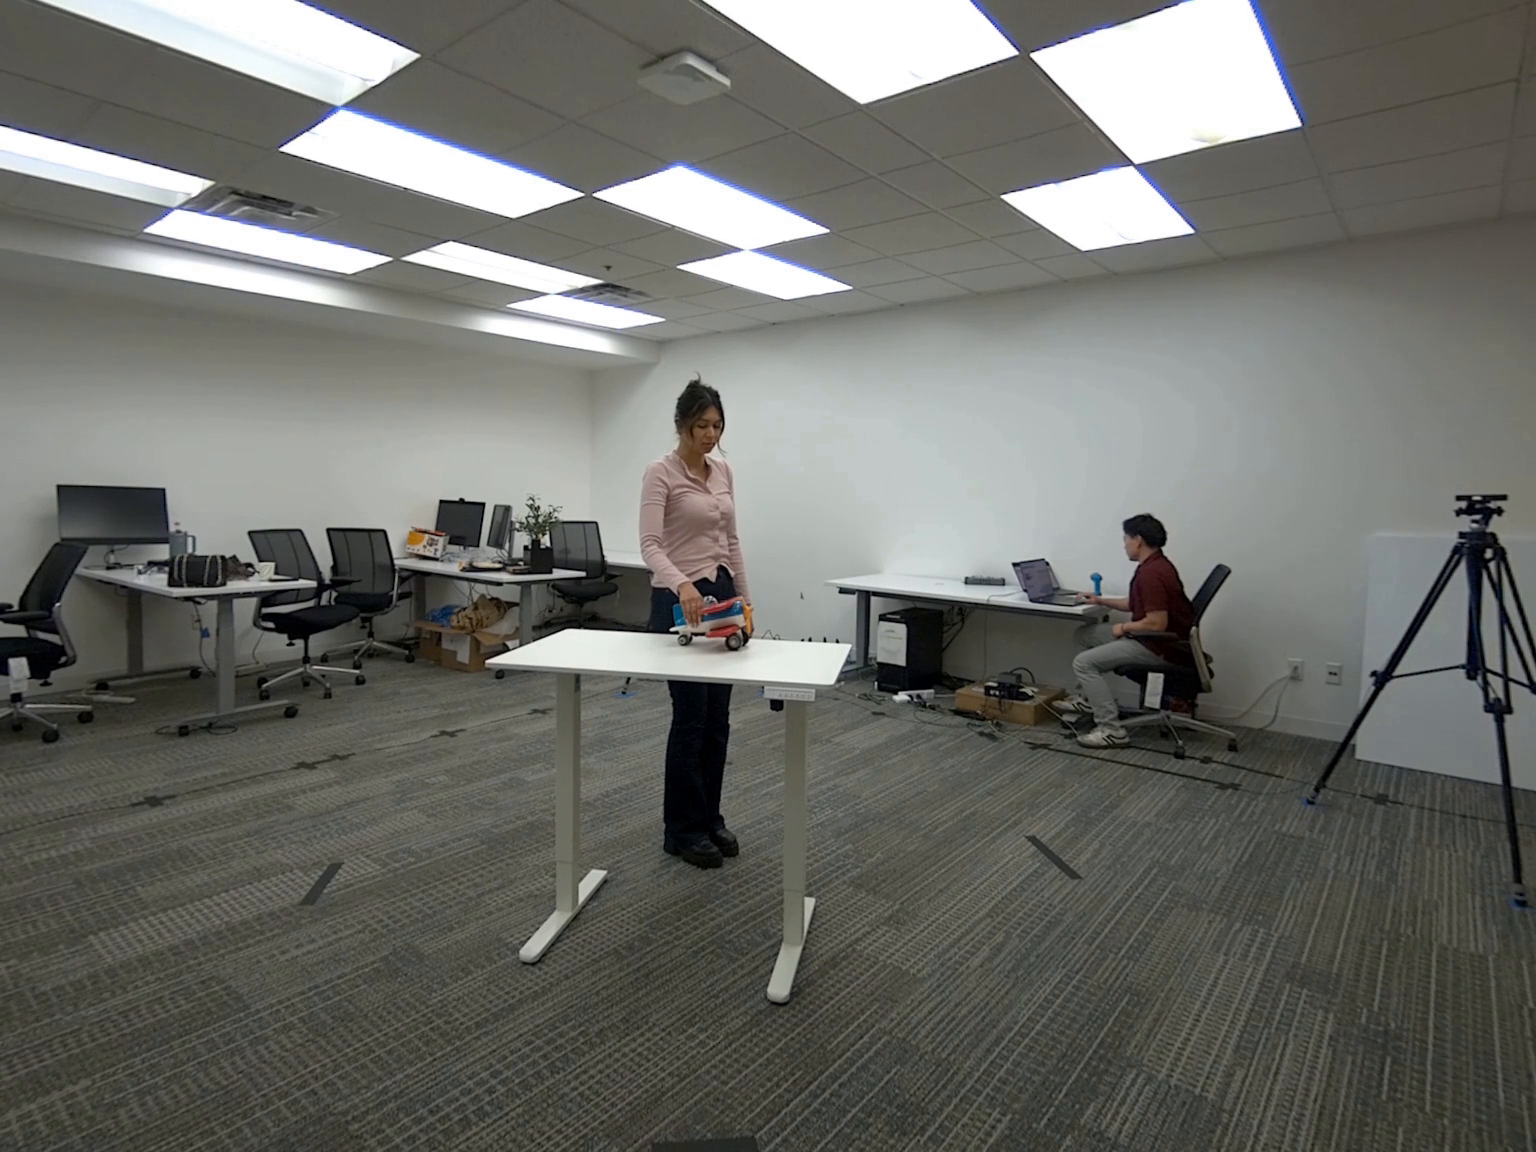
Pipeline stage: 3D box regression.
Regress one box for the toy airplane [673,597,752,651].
[{"bbox_3d":[-0.186,0.148,2.703,0.256,0.156,0.255,0,5,-12],"label":"toy airplane"}]
